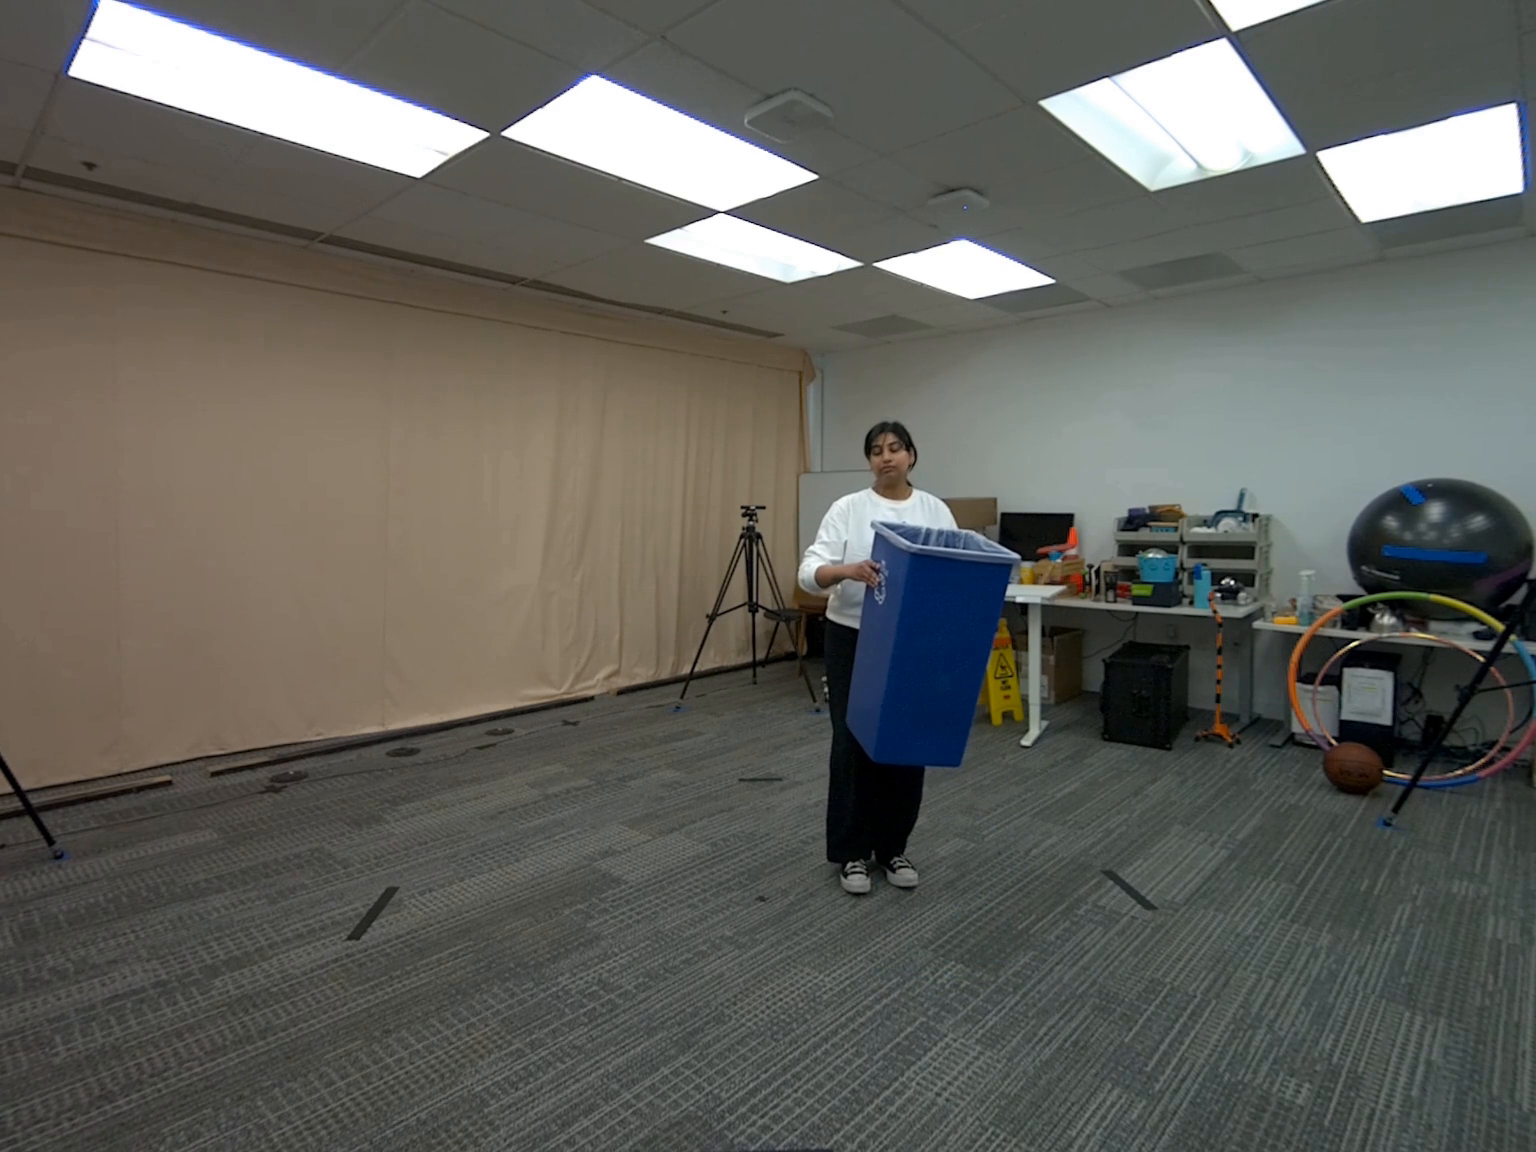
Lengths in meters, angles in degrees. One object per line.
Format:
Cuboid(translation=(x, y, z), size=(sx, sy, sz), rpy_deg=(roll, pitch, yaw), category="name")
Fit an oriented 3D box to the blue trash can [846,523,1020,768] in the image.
Cuboid(translation=(0.503, 0.218, 2.728), size=(0.373, 0.709, 0.381), rpy_deg=(5, 13, -12), category="blue trash can")
